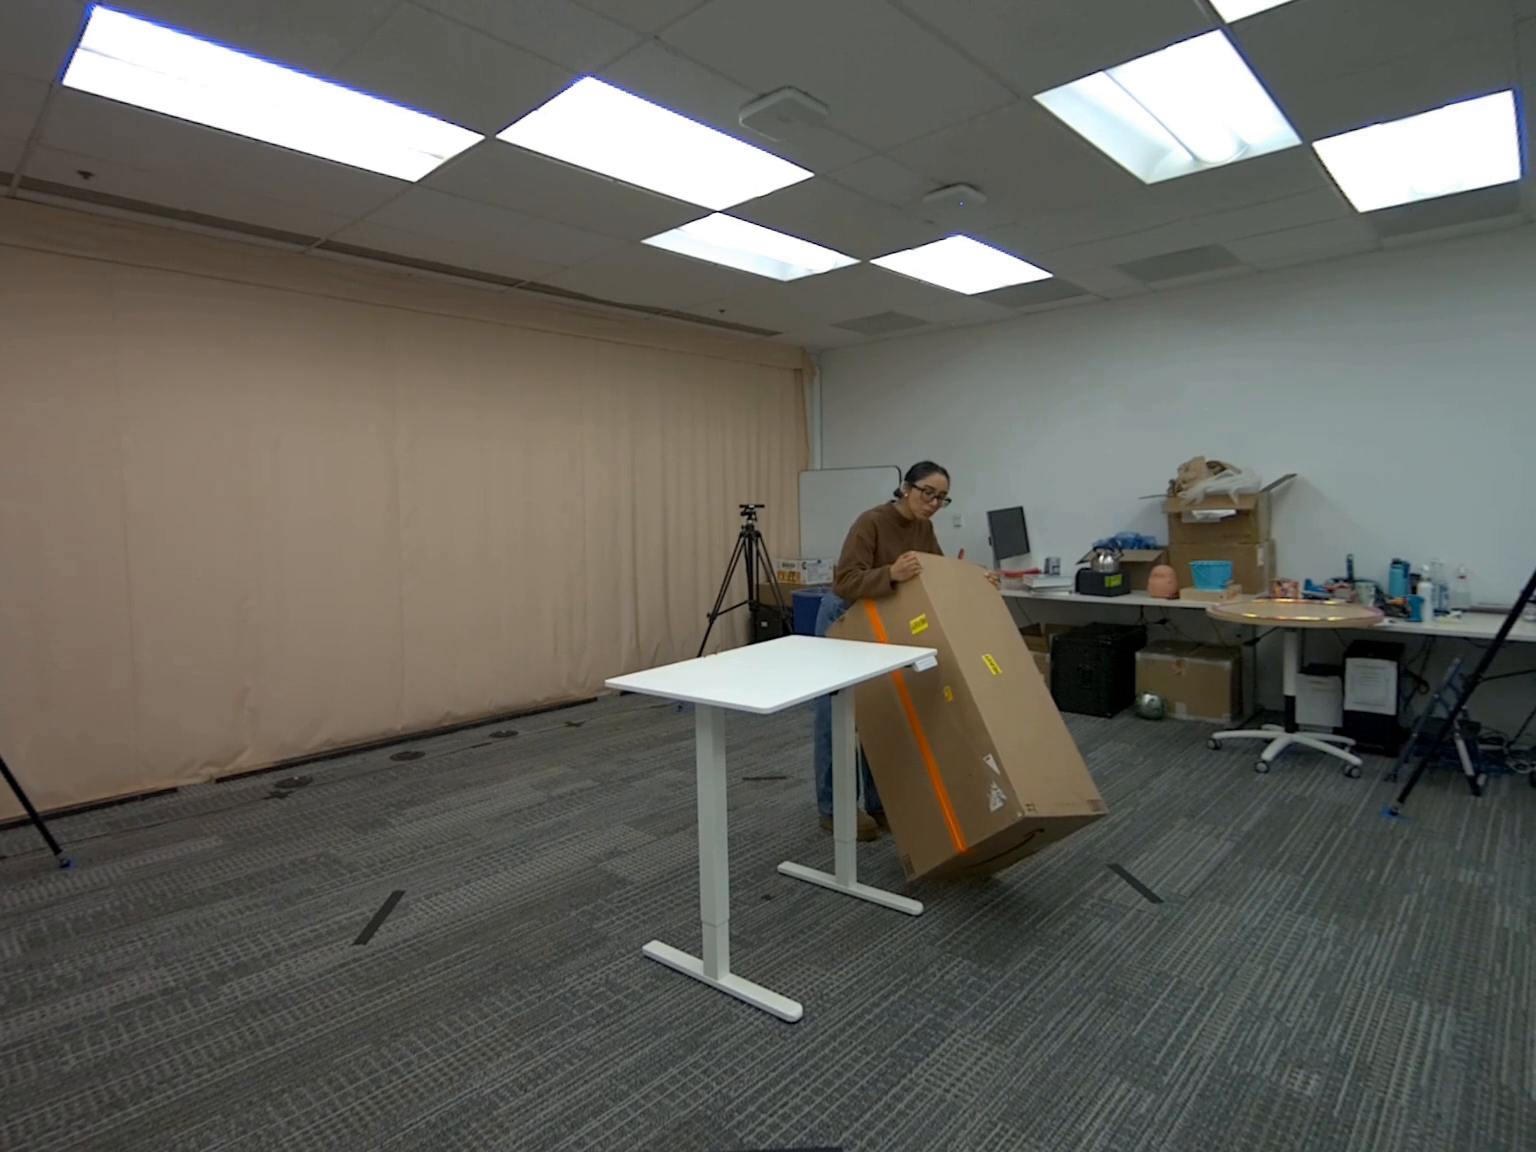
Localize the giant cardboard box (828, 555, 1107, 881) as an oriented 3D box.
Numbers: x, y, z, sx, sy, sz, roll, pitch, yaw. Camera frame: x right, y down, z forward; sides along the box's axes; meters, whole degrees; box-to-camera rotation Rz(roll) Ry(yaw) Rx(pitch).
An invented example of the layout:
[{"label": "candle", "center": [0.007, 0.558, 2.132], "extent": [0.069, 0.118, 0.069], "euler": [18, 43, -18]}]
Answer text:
[{"label": "giant cardboard box", "center": [0.690, 0.523, 3.124], "extent": [0.413, 1.051, 0.581], "euler": [9, -41, -33]}]
